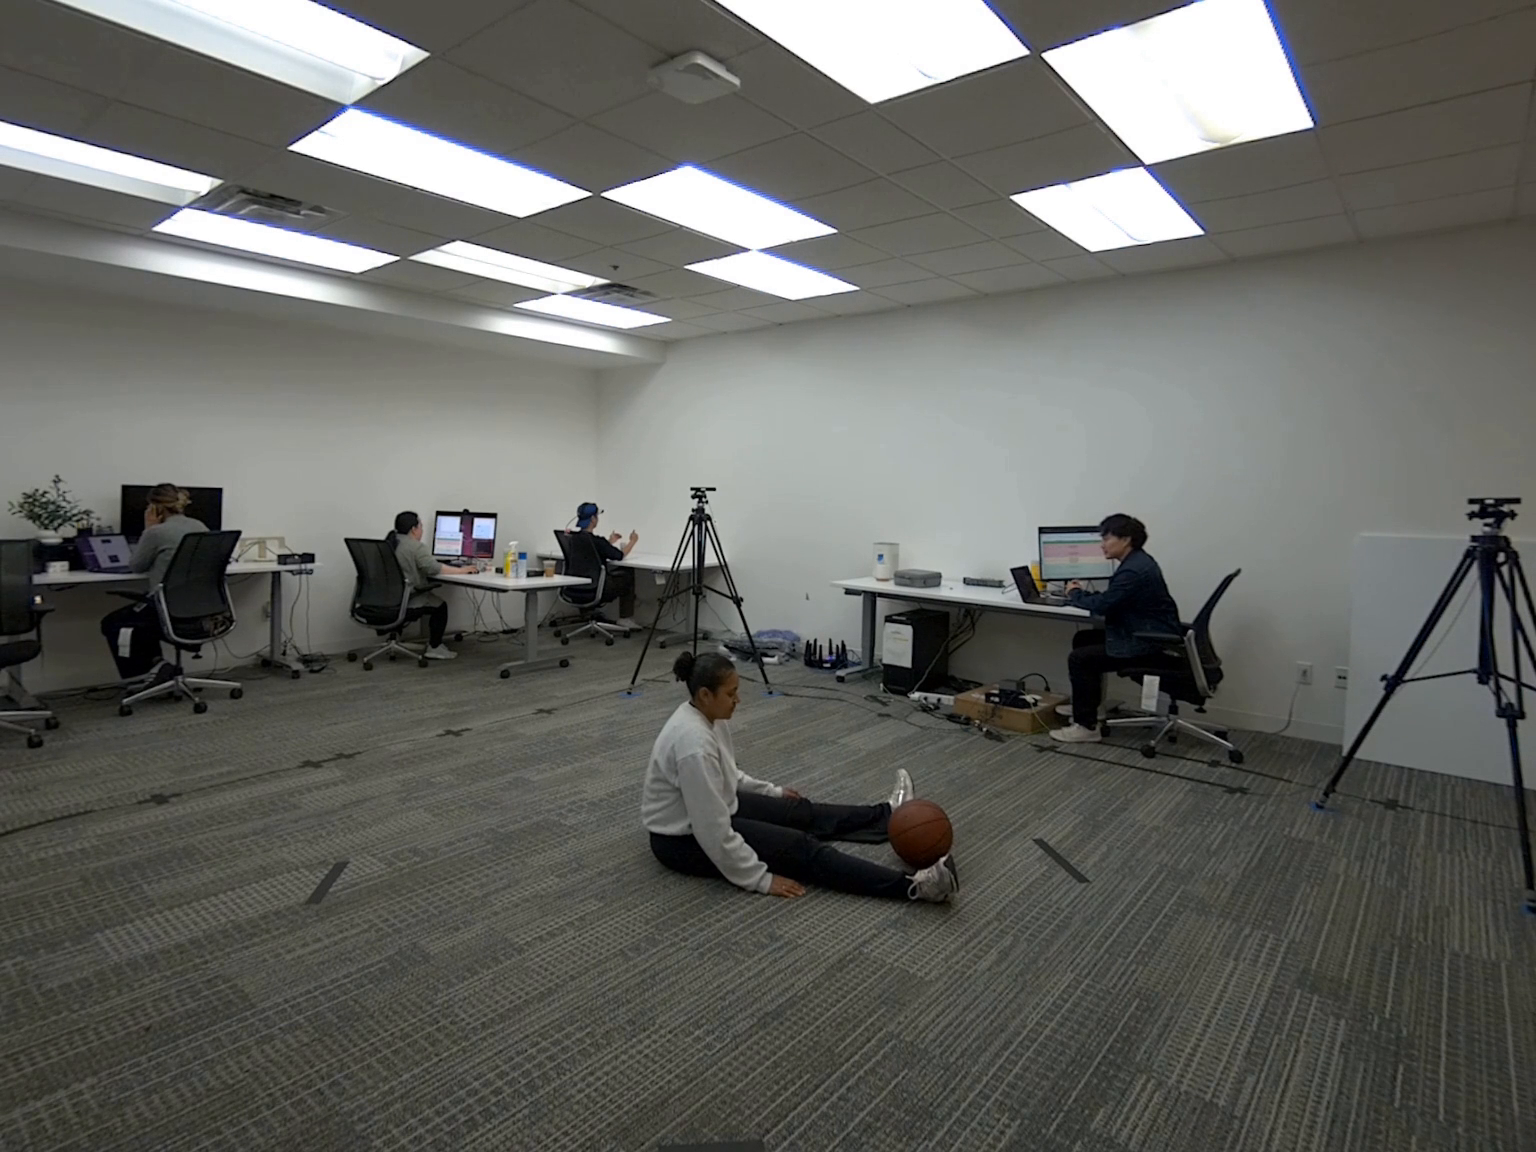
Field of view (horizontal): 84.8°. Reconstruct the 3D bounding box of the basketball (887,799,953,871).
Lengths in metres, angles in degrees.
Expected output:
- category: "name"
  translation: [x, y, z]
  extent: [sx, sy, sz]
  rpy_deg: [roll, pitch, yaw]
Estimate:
- category: "basketball"
  translation: [0.565, 0.960, 3.197]
  extent: [0.235, 0.235, 0.237]
  rpy_deg: [1, 4, -2]
